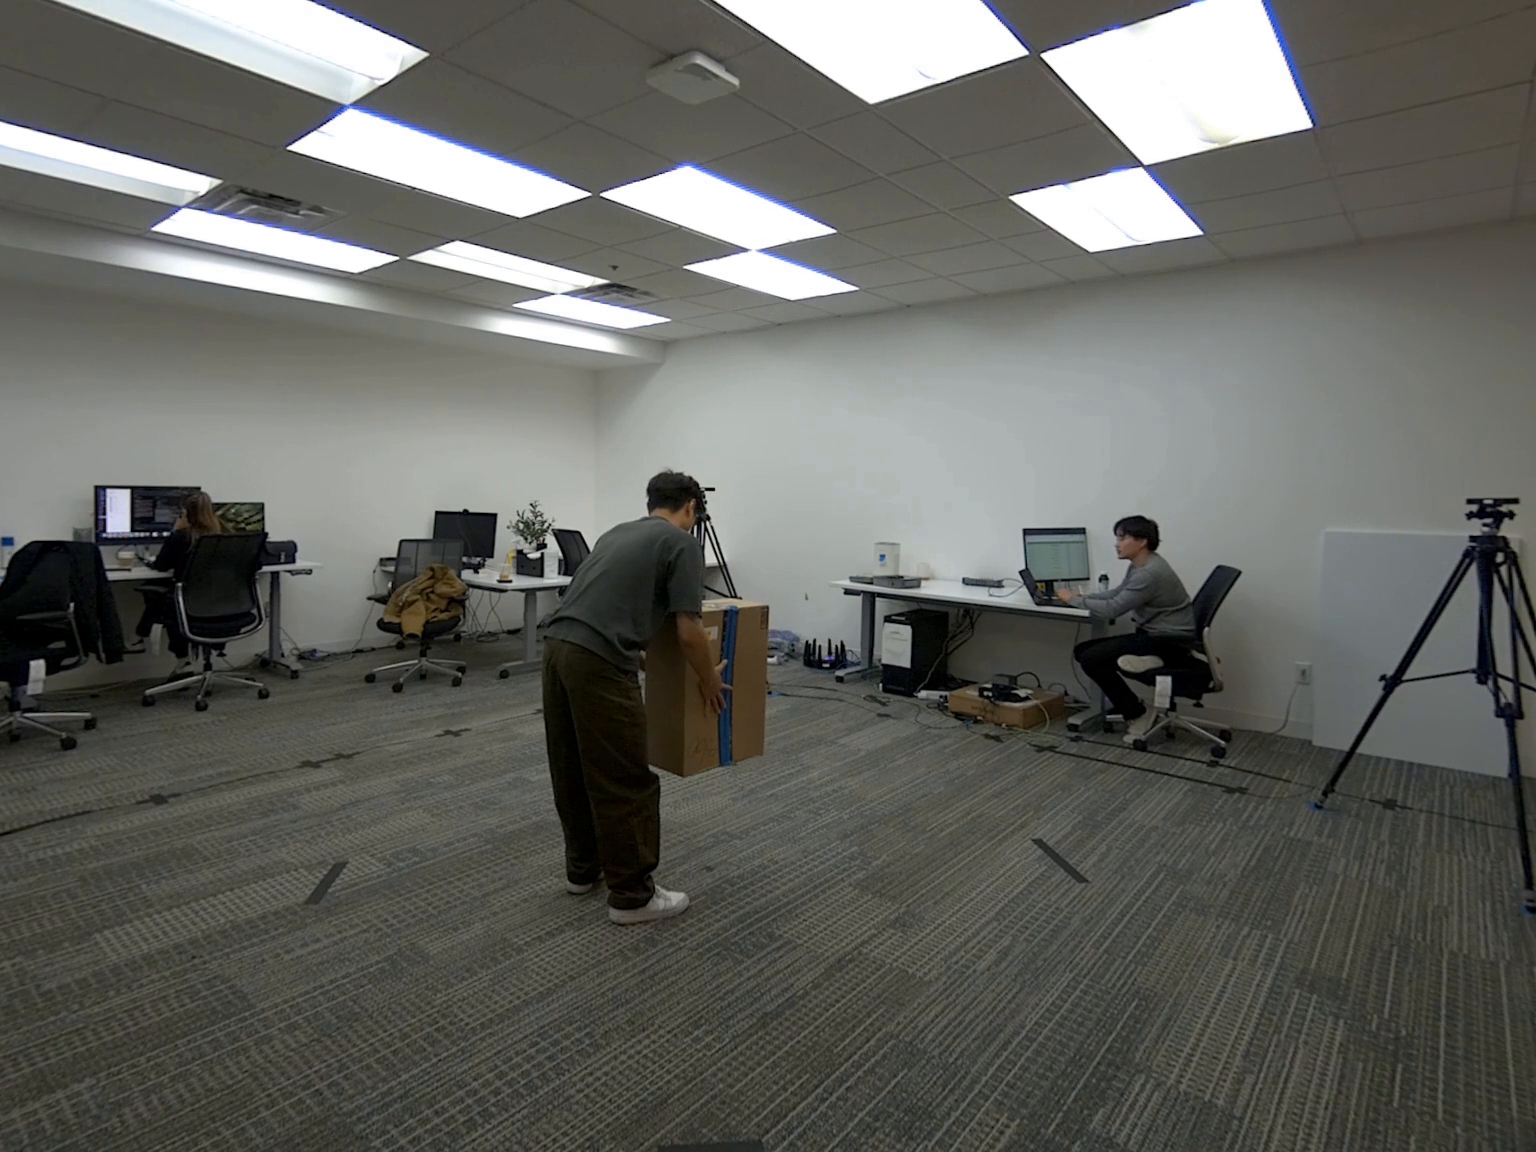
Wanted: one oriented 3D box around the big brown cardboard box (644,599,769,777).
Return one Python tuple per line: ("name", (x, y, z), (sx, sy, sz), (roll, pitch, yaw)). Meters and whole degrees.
("big brown cardboard box", (-0.228, 0.382, 3.084), (0.241, 0.586, 0.405), (7, 7, 43))
